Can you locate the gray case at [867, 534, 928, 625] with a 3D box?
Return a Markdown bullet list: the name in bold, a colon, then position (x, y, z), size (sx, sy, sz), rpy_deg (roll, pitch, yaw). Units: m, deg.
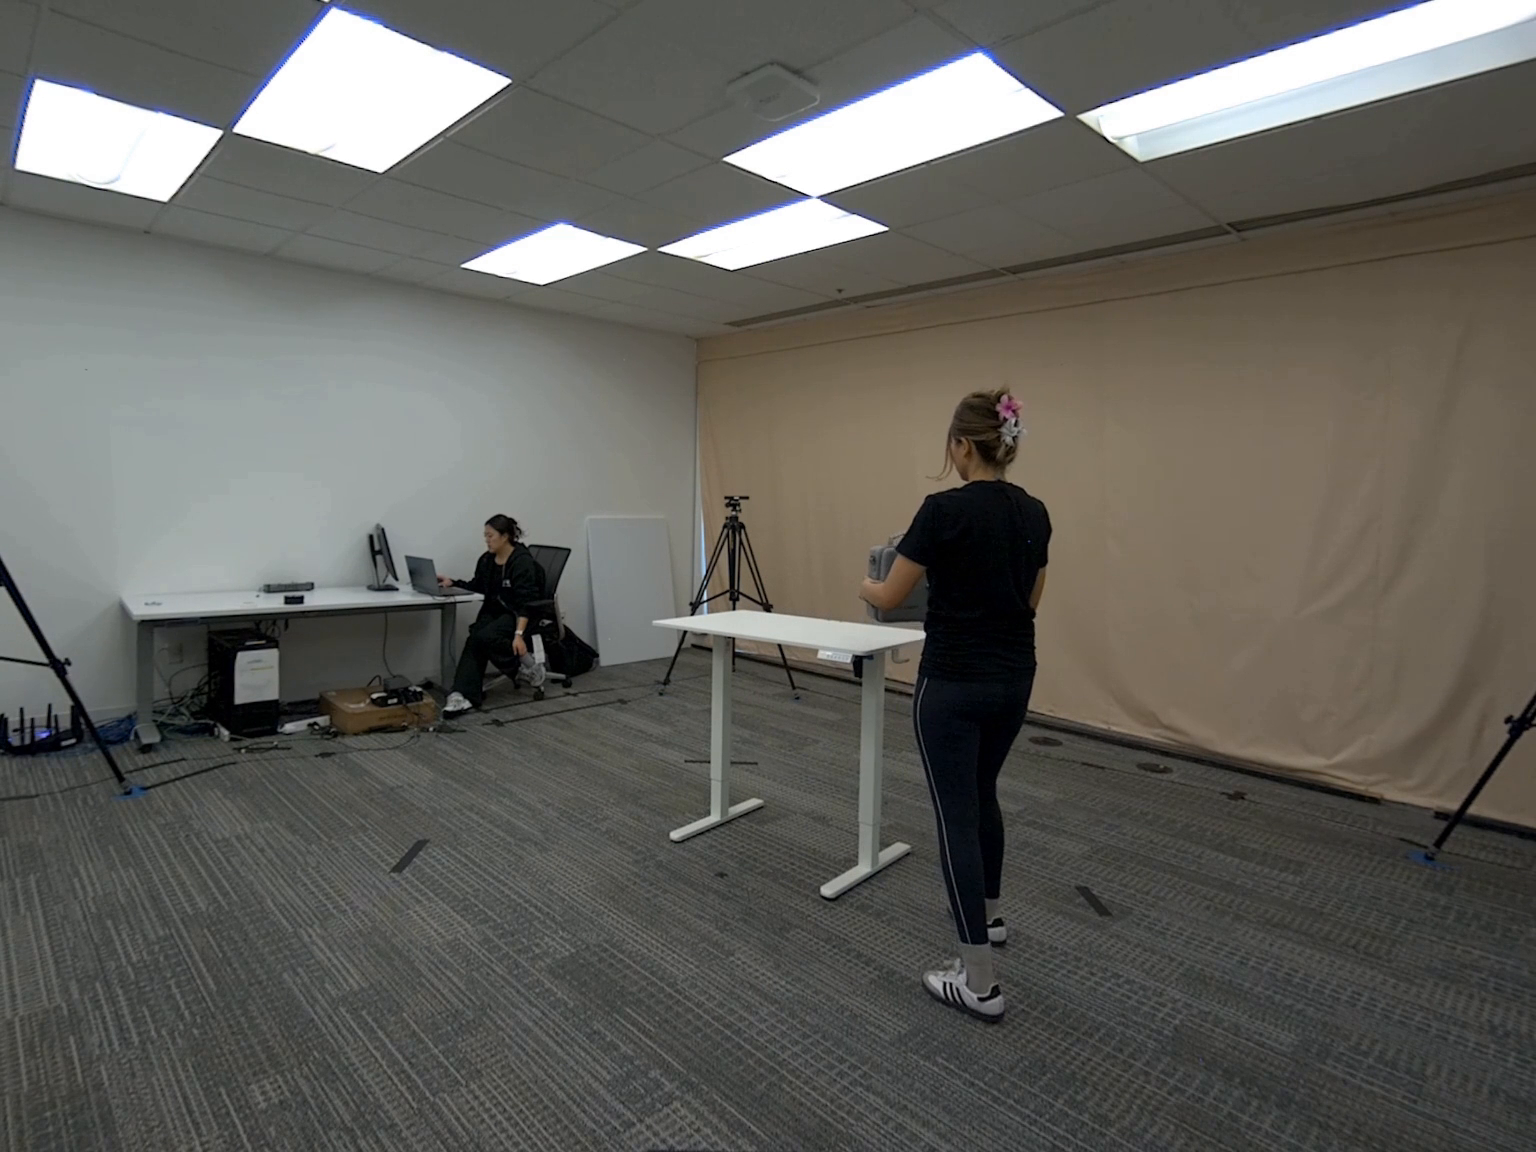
- **gray case**: position (0.454, 0.020, 2.843), size (0.252, 0.260, 0.106), rpy_deg (2, 3, -27)
